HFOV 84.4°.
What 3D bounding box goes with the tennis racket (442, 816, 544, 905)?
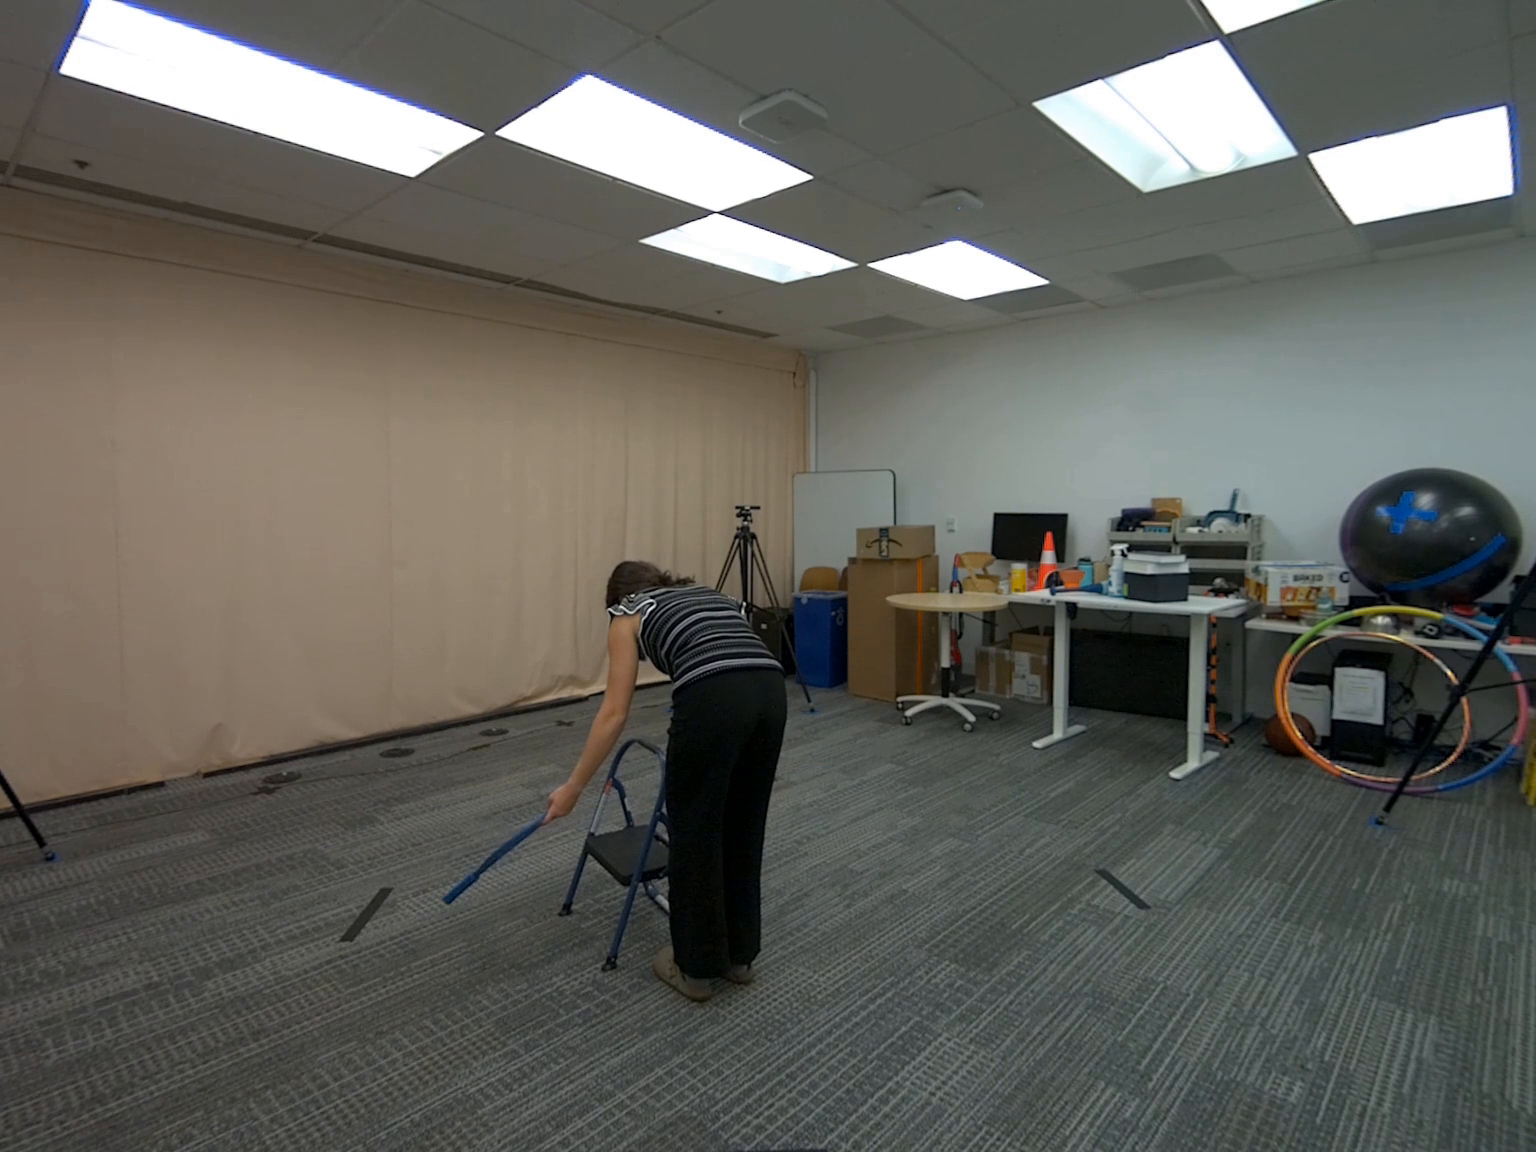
[{"bbox_3d":[-0.787,0.815,2.438,0.435,0.032,0.210,-40,-10,11],"label":"tennis racket"}]
